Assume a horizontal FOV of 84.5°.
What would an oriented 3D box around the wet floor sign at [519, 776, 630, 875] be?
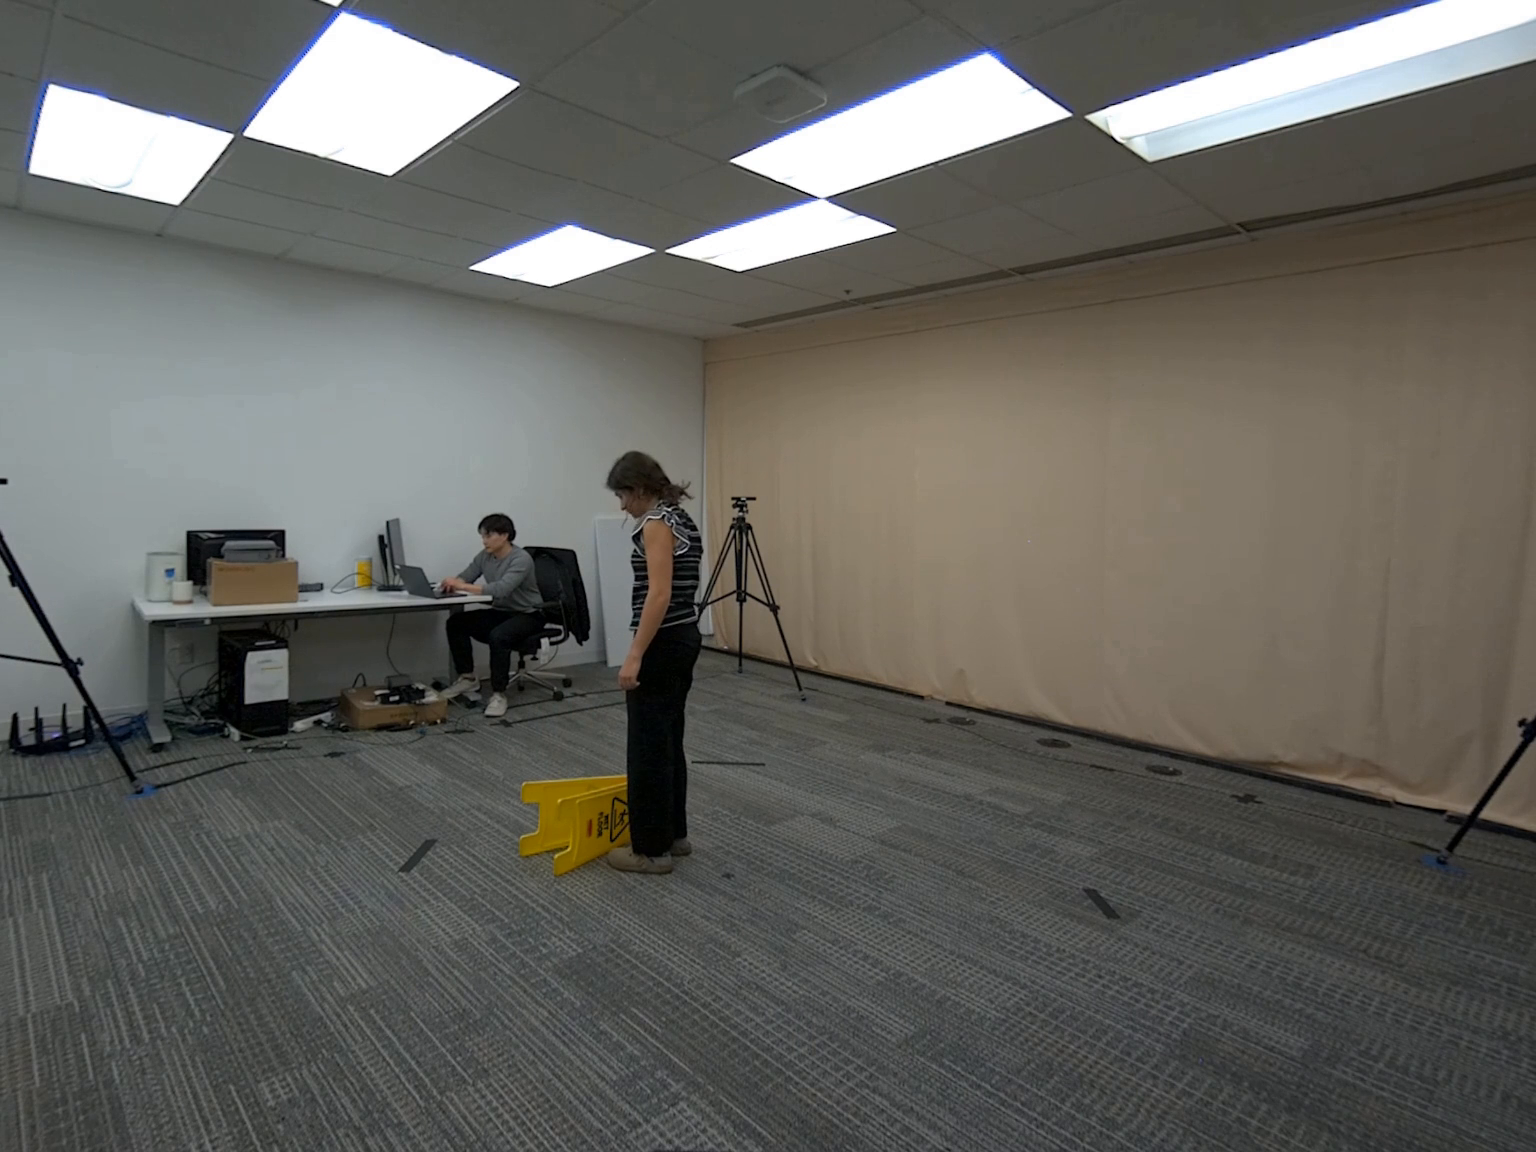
[{"bbox_3d":[-0.652,0.945,3.376,0.297,0.282,0.630,4,2,42],"label":"wet floor sign"}]
